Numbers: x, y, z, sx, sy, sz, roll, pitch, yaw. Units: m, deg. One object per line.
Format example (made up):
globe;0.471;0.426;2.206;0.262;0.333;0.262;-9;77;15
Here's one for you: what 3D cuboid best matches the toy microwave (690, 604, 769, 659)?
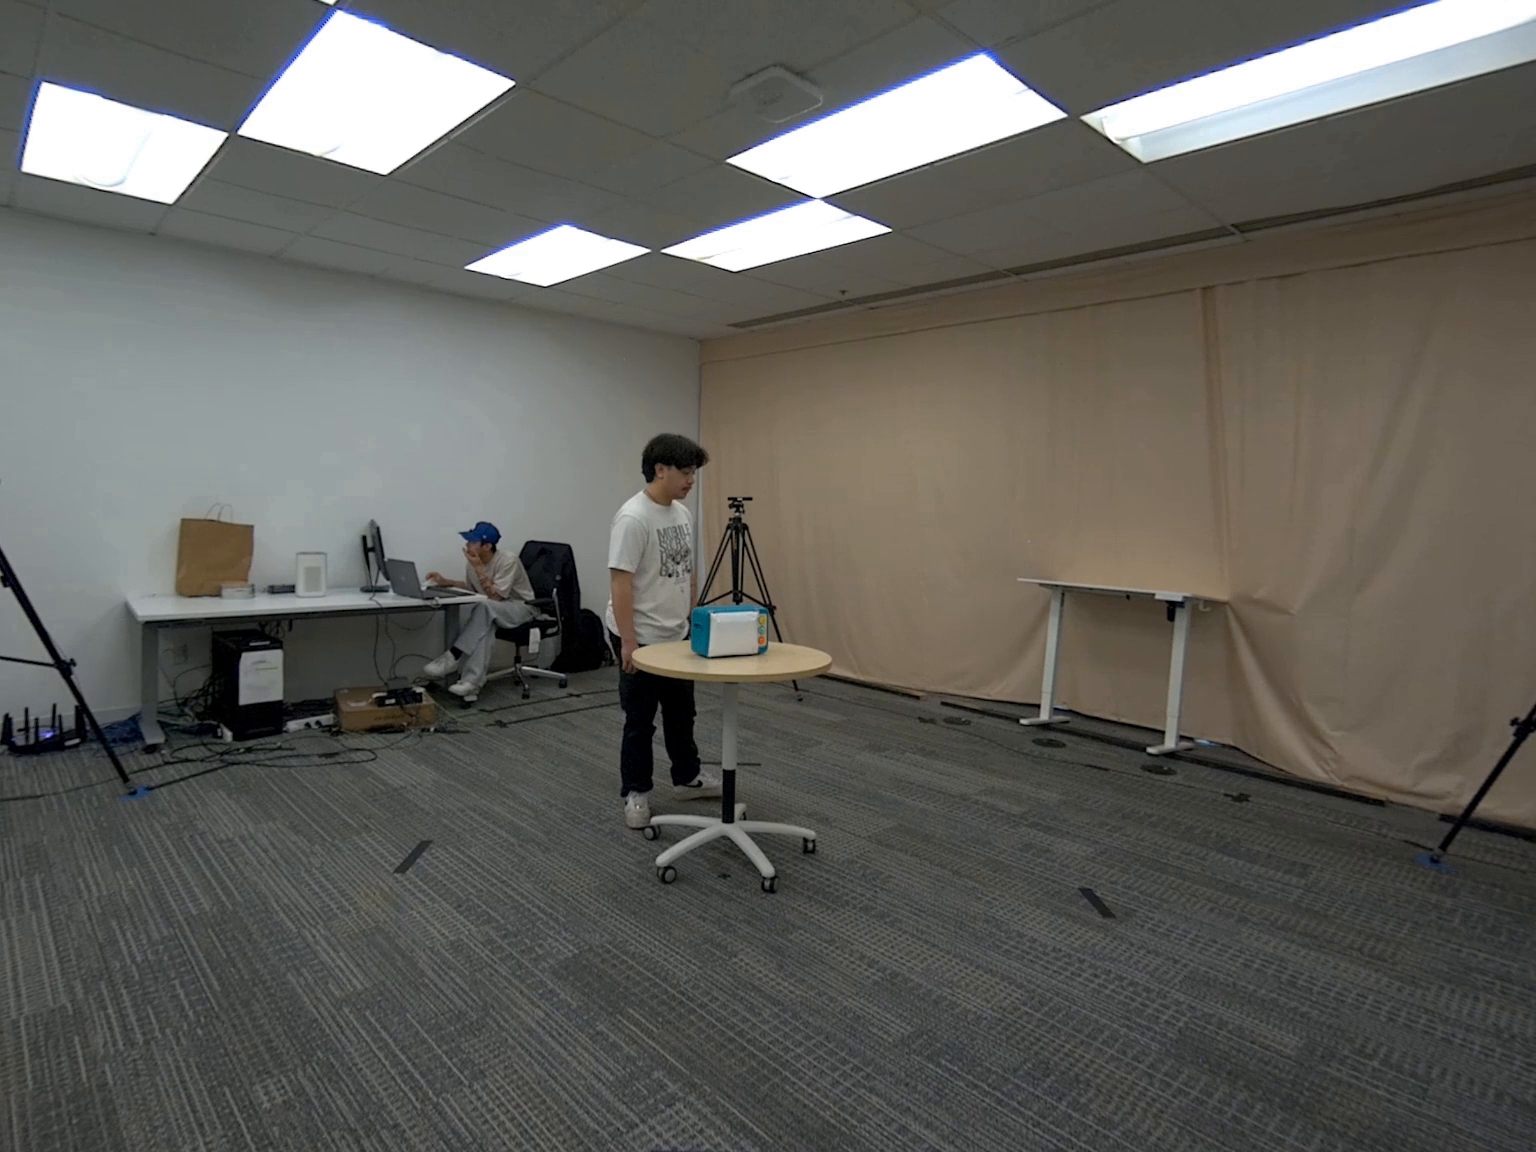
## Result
toy microwave;-0.148;0.211;3.237;0.280;0.184;0.156;-1;4;-30
